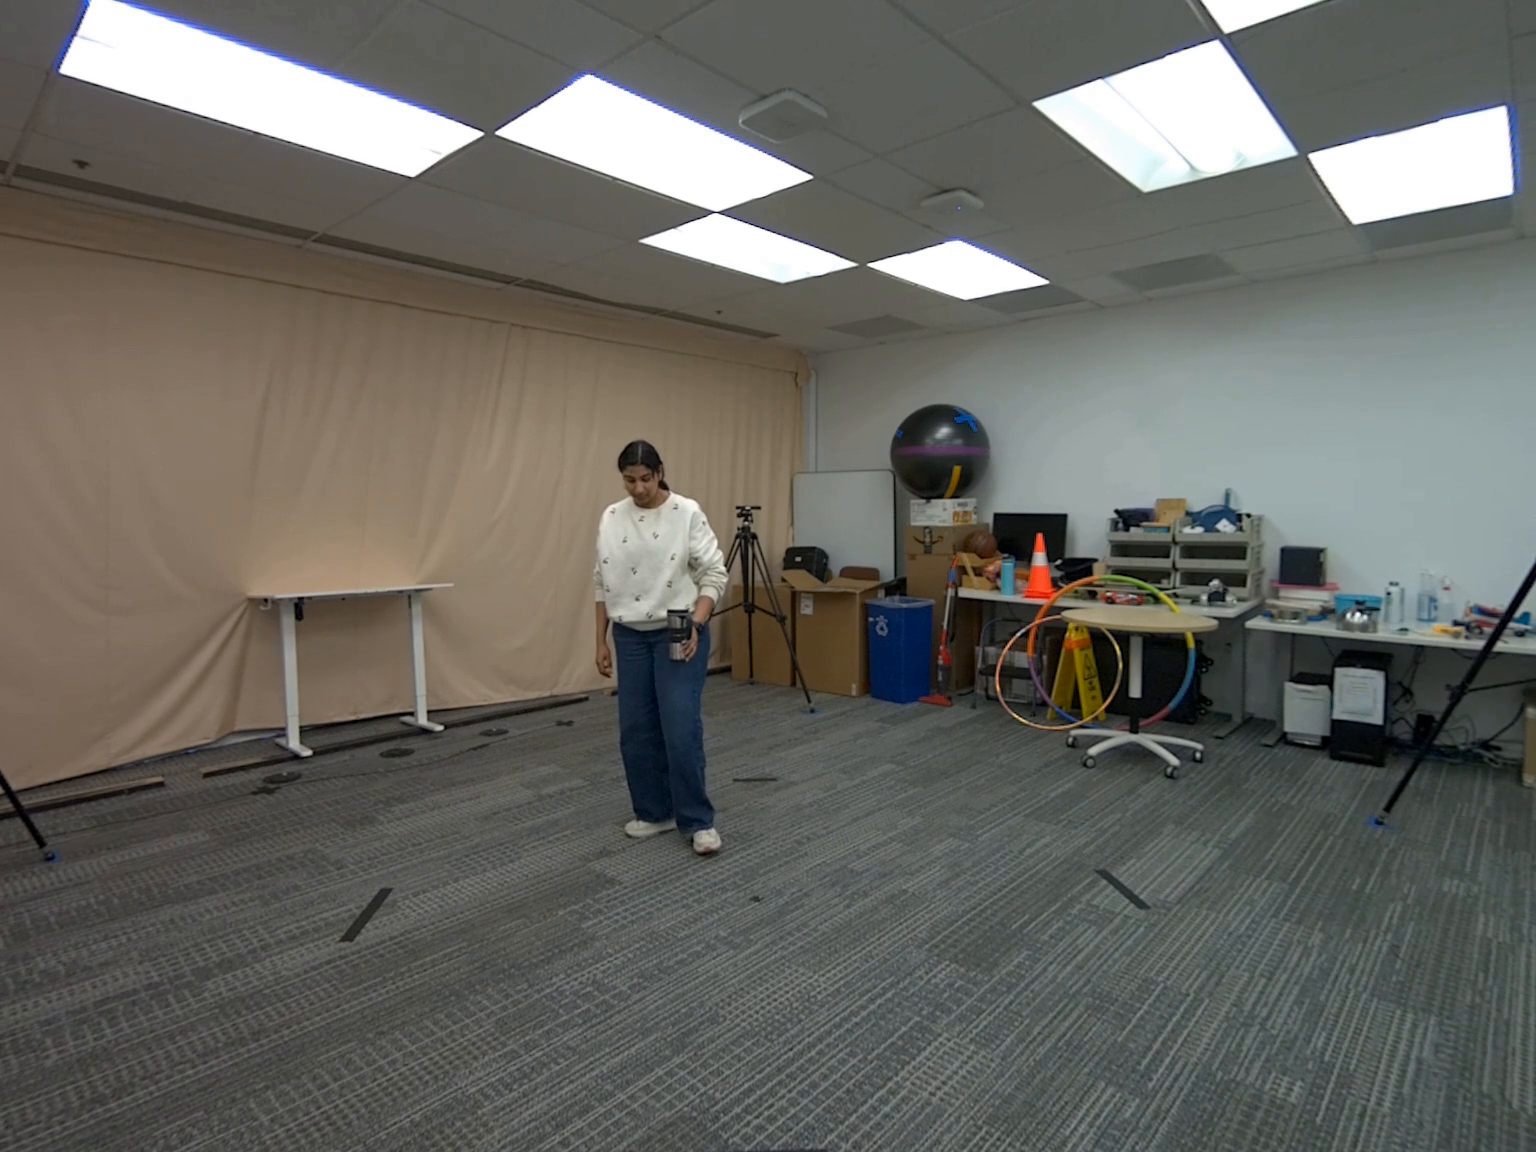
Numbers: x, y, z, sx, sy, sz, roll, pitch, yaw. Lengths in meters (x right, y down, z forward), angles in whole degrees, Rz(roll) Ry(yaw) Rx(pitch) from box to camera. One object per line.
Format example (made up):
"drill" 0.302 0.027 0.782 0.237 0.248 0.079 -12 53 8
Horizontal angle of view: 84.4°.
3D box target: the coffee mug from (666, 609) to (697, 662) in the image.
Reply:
"coffee mug" -0.341 0.232 3.248 0.087 0.203 0.123 1 0 -13
